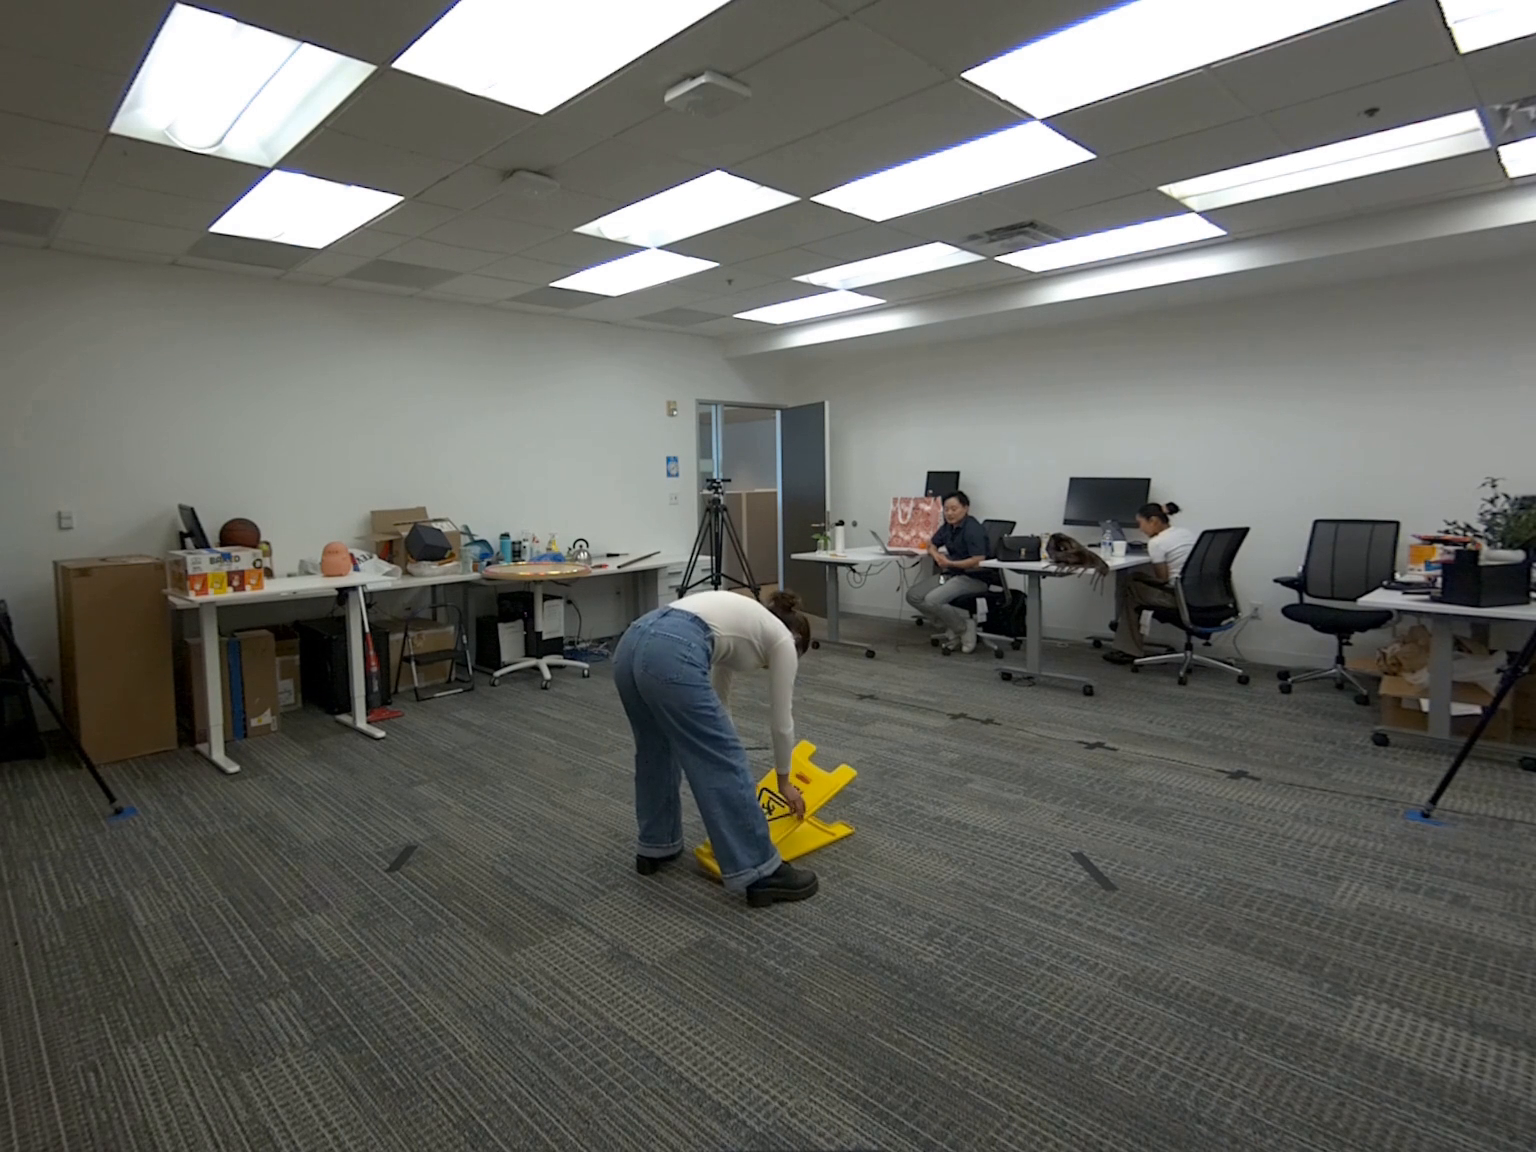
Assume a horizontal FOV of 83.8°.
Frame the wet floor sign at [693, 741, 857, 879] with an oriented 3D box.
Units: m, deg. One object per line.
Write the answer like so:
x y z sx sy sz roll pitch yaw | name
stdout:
0.021 0.928 3.199 0.635 0.284 0.293 -22 31 -40 | wet floor sign
